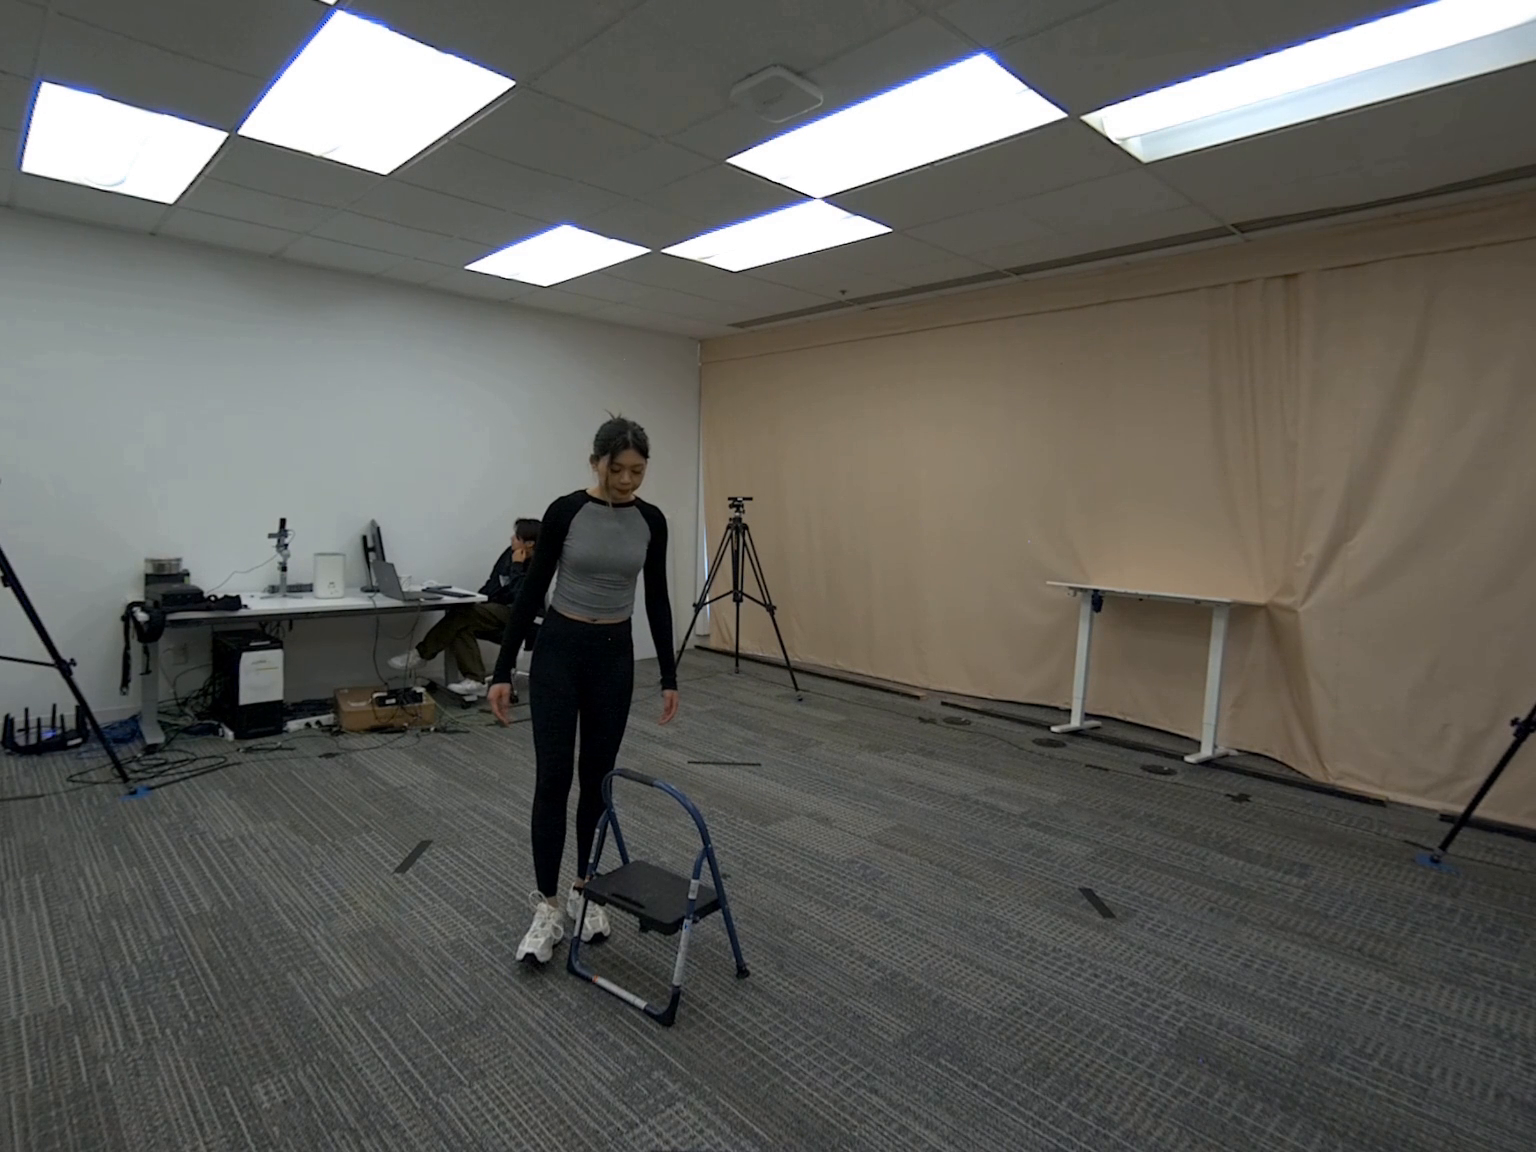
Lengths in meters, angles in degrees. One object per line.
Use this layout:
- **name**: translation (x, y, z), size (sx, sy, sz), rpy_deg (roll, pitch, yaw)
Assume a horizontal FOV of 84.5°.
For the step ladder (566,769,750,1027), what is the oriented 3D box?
- **step ladder**: translation (-0.318, 0.862, 2.444), size (0.441, 0.605, 0.341), rpy_deg (4, 4, 37)
